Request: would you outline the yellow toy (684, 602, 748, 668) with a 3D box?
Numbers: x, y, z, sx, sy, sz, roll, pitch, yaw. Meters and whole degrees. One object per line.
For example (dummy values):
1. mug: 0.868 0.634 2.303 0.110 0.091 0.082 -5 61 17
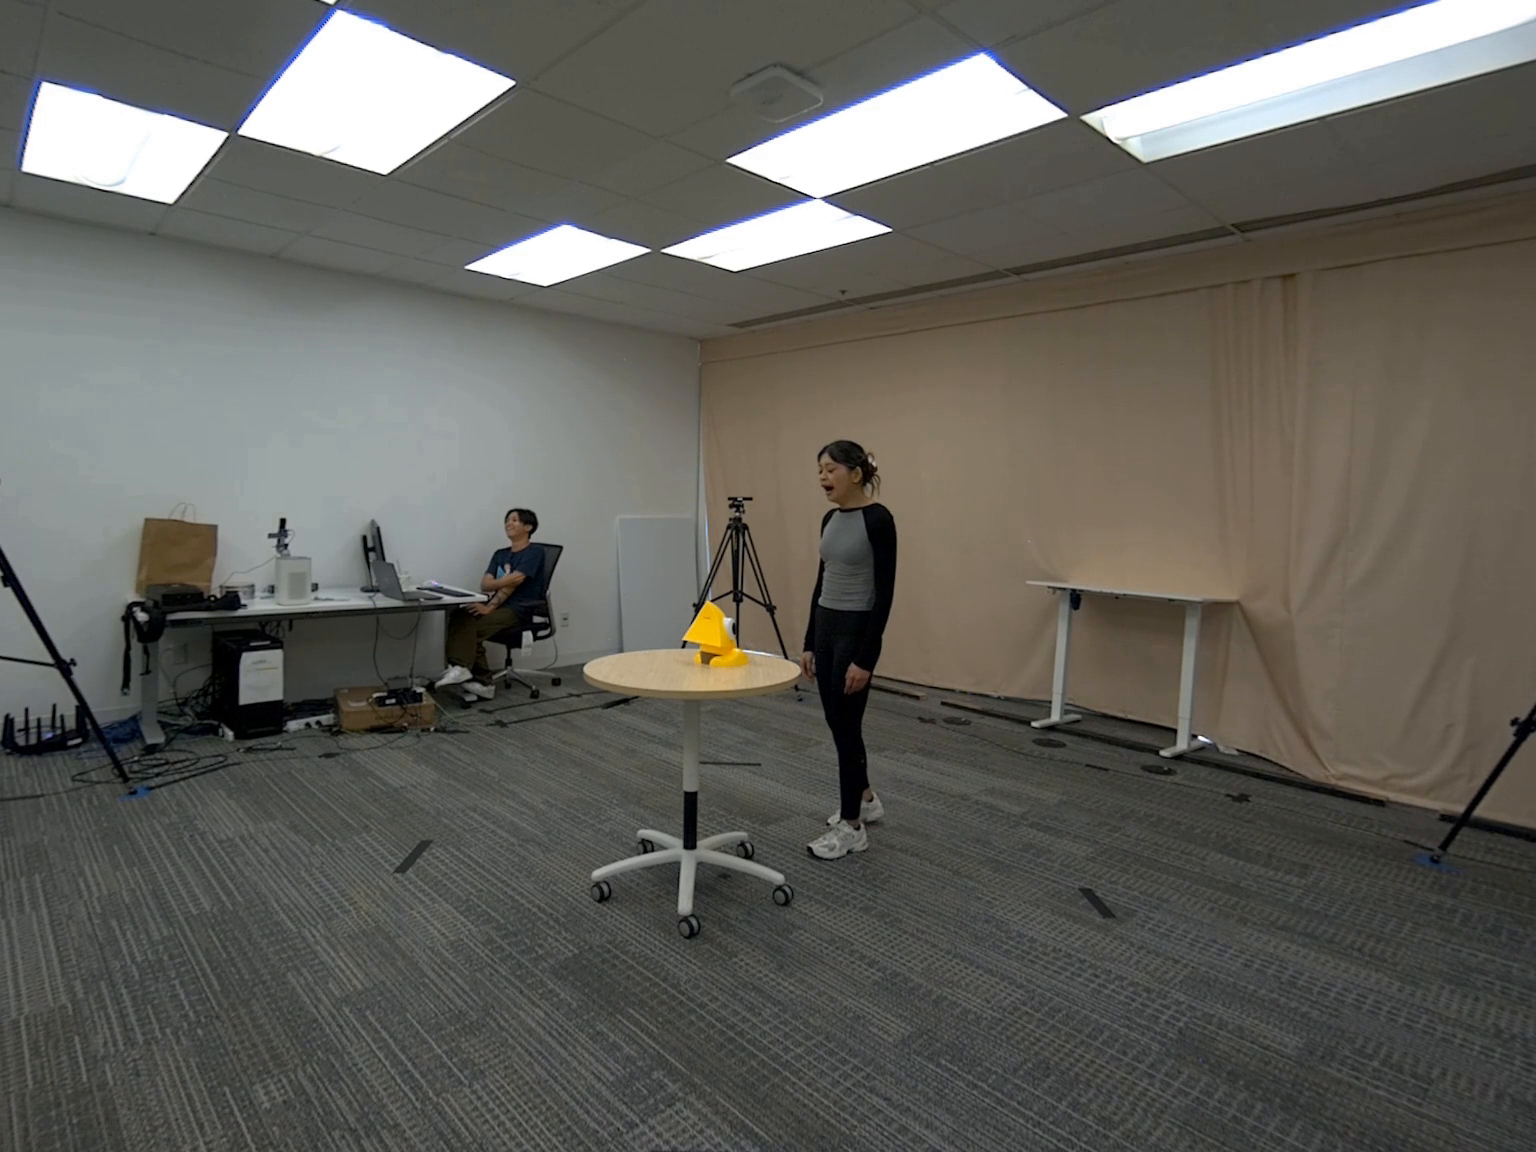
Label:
1. yellow toy: -0.184 0.202 3.085 0.210 0.230 0.189 4 5 44
